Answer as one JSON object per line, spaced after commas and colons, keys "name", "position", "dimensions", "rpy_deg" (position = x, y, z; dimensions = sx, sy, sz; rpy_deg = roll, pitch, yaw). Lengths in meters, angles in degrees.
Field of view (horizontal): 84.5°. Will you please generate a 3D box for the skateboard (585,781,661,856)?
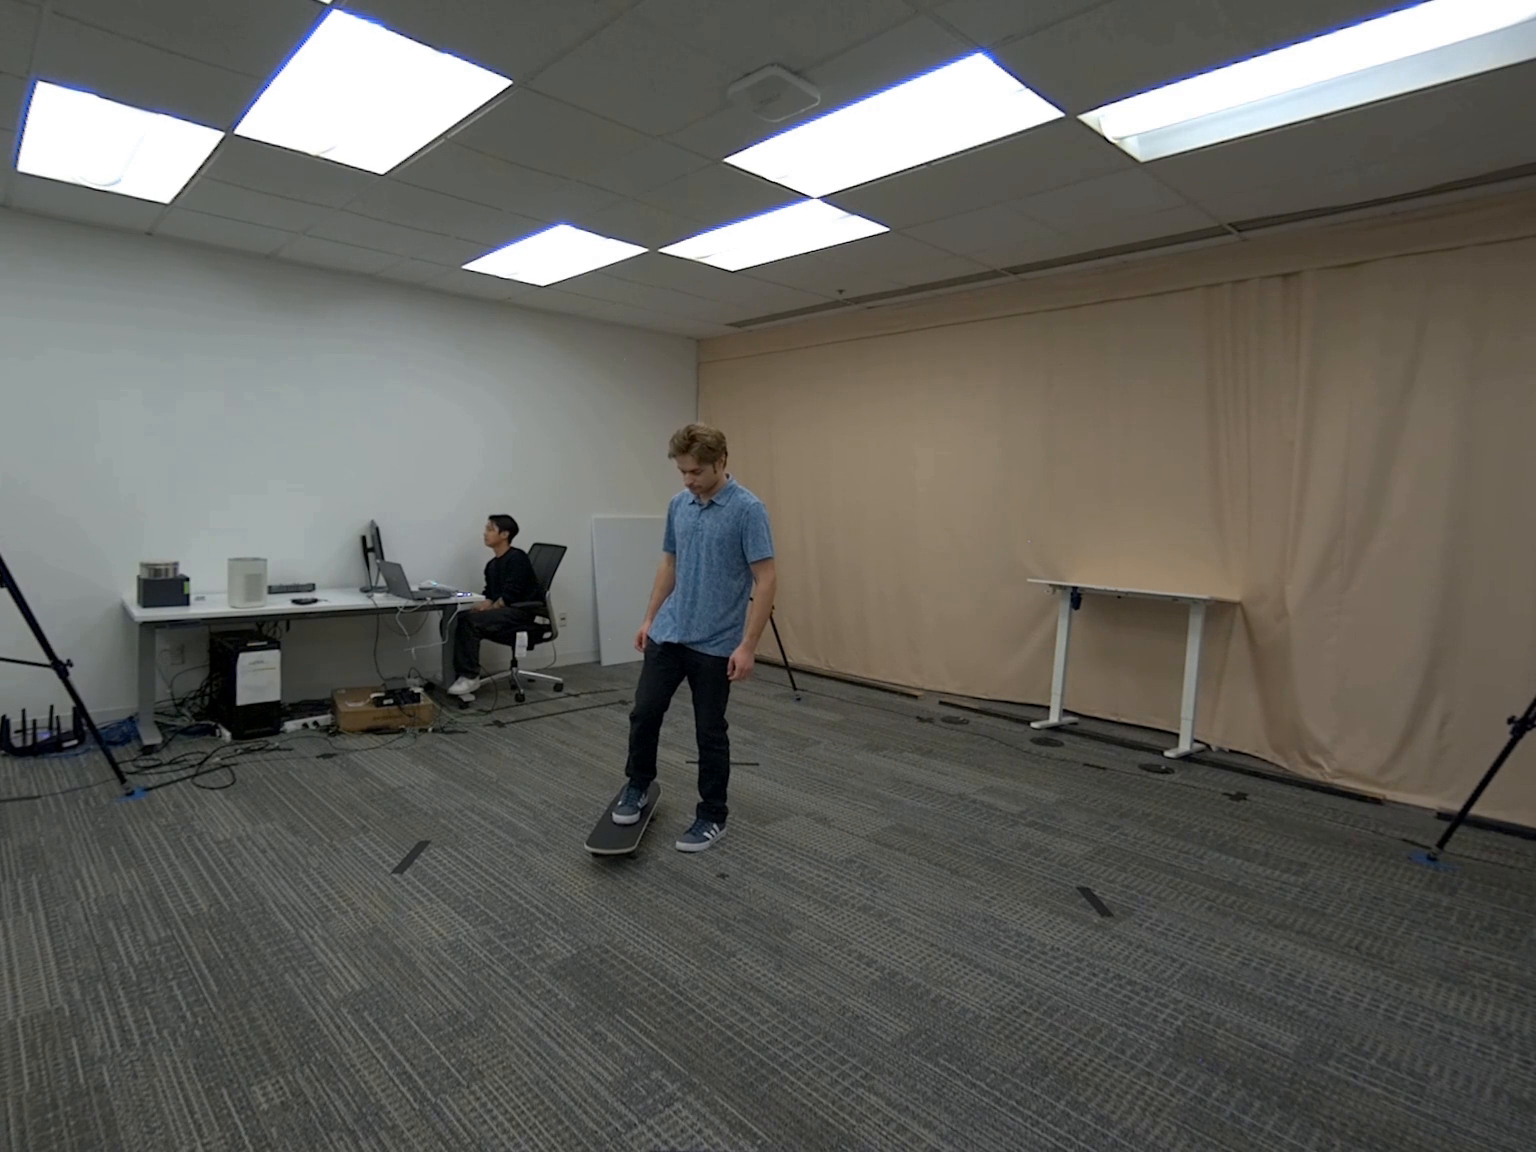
{"name": "skateboard", "position": [-0.583, 1.009, 3.435], "dimensions": [0.194, 0.110, 0.785], "rpy_deg": [3, 6, 3]}
